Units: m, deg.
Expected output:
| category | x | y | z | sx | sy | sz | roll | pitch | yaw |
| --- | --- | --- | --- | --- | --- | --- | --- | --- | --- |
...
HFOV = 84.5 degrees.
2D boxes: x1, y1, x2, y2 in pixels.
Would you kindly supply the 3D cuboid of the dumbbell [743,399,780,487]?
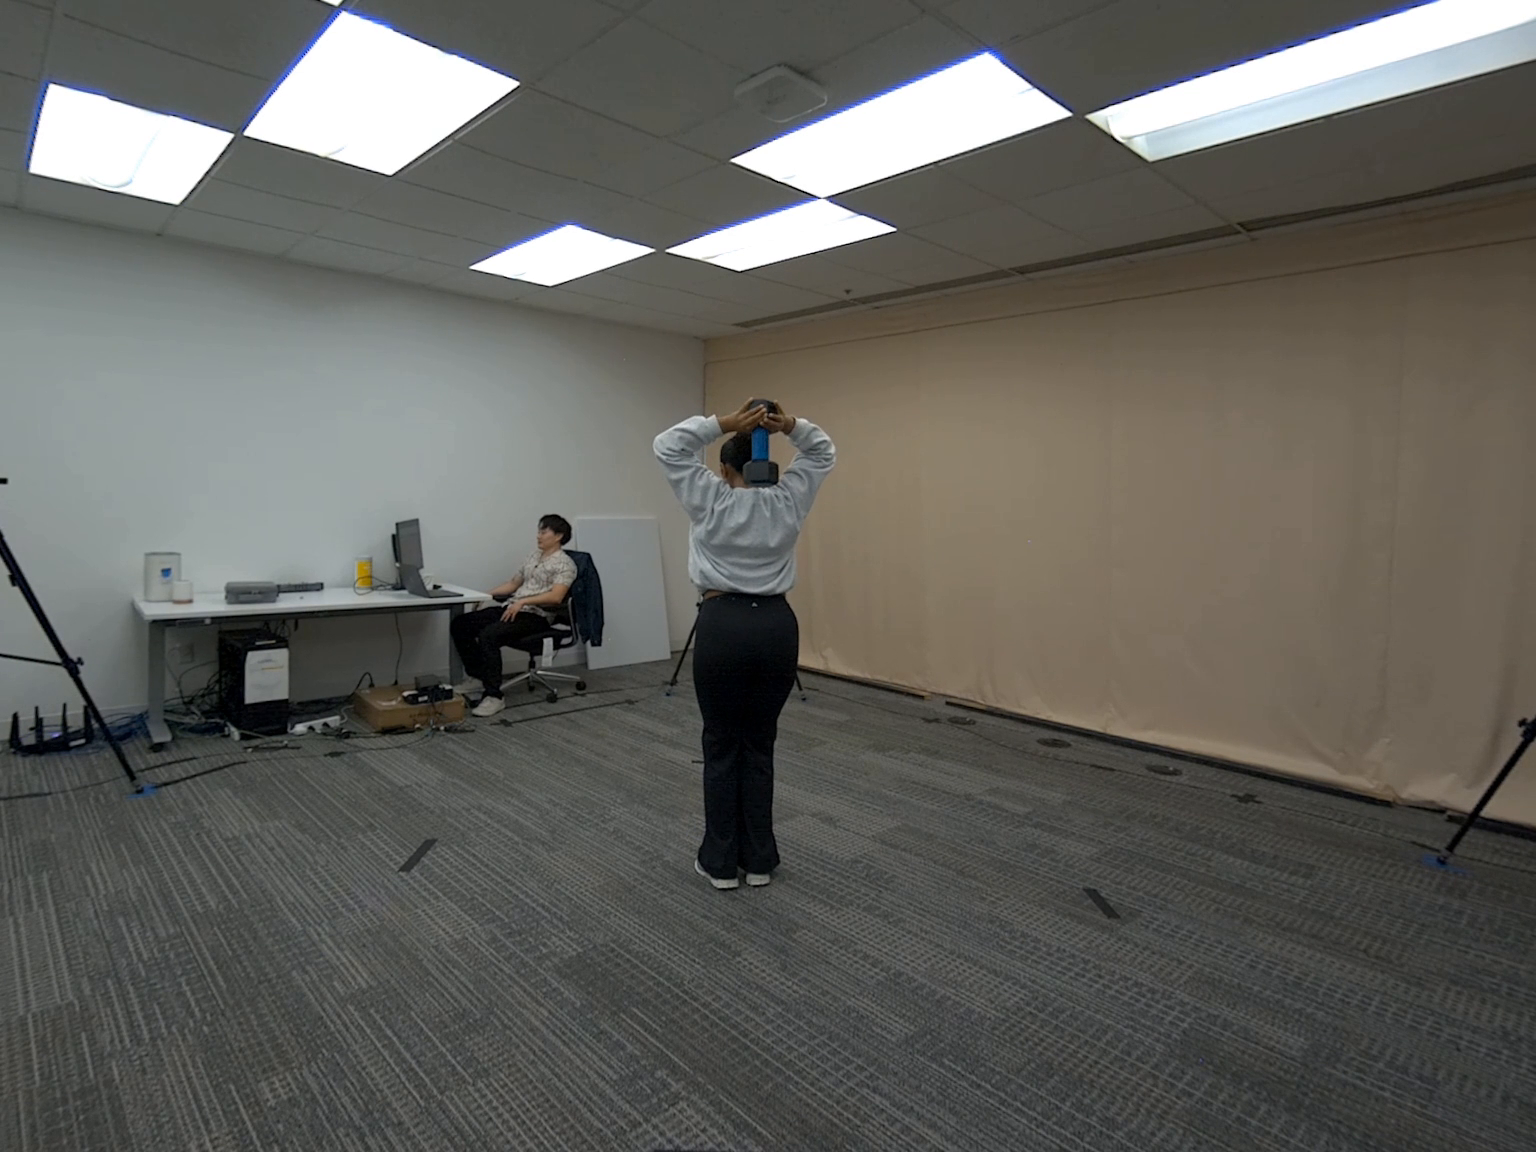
| category | x | y | z | sx | sy | sz | roll | pitch | yaw |
| --- | --- | --- | --- | --- | --- | --- | --- | --- | --- |
| dumbbell | -0.039 | -0.467 | 2.877 | 0.111 | 0.294 | 0.120 | -6 | -5 | 36 |
